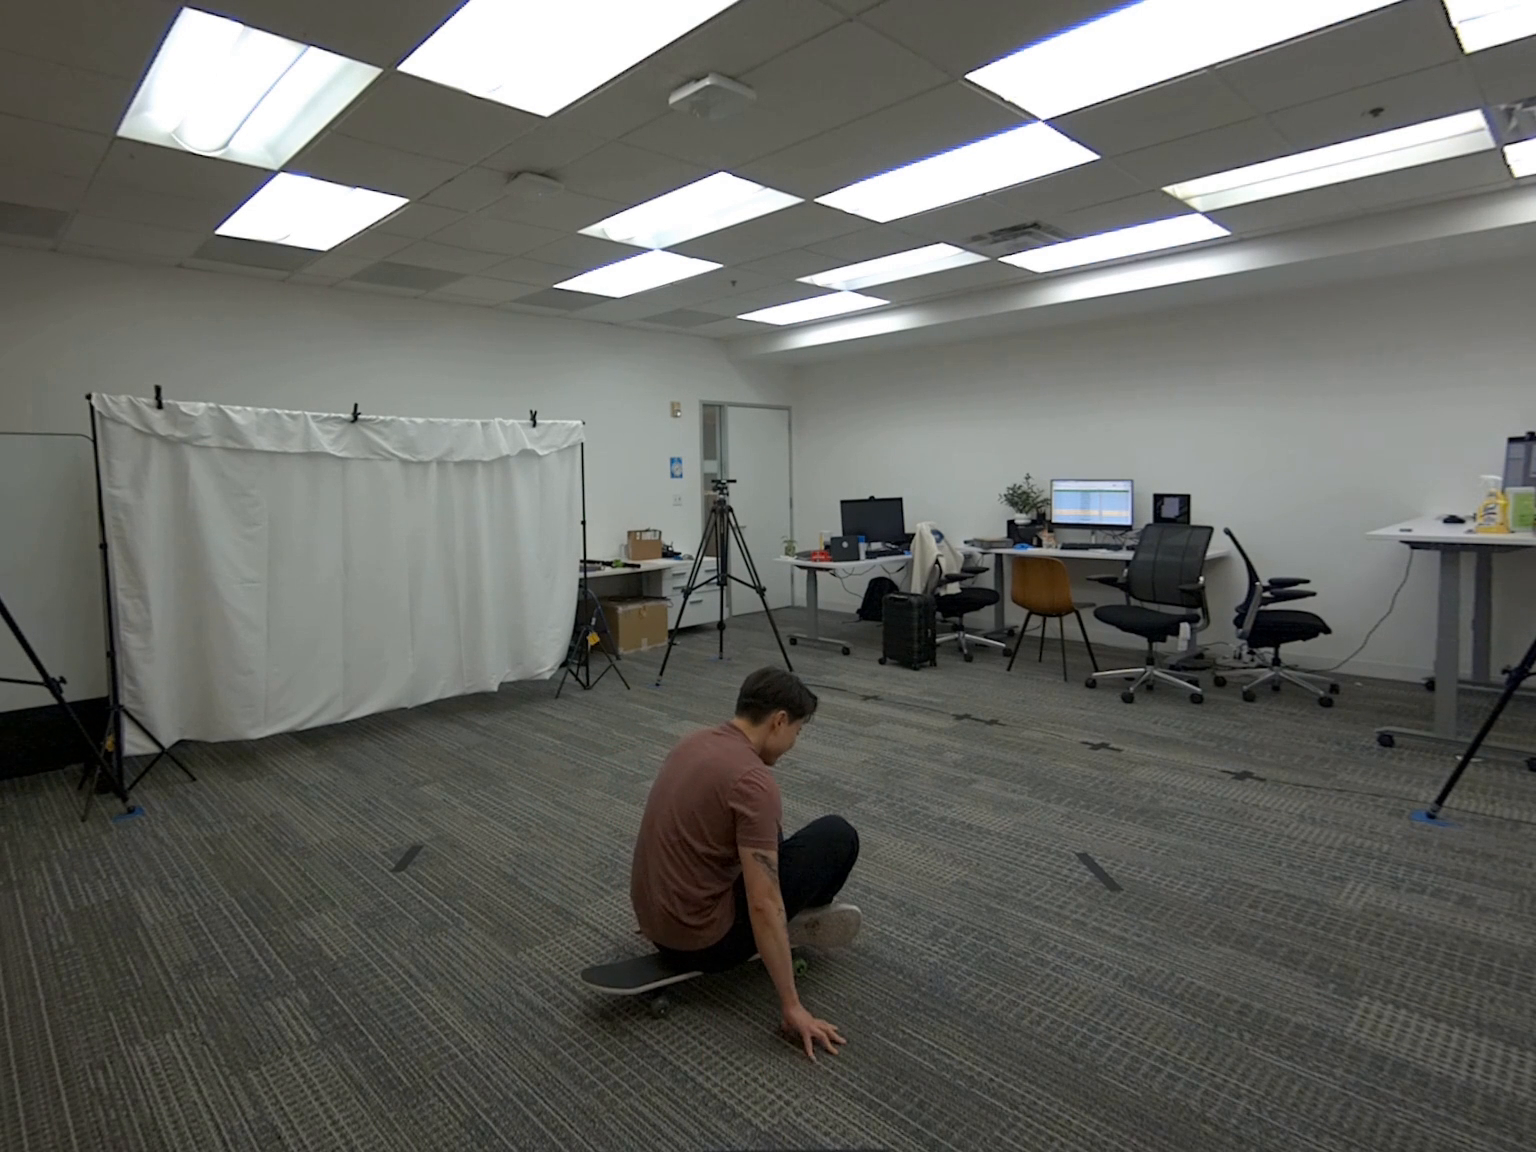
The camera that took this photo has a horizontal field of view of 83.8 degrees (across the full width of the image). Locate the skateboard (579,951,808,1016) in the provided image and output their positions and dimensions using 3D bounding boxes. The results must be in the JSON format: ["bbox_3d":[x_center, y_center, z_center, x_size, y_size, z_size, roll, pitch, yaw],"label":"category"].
[{"bbox_3d":[-0.139,1.080,2.399,0.769,0.111,0.197,-6,-3,-26],"label":"skateboard"}]
